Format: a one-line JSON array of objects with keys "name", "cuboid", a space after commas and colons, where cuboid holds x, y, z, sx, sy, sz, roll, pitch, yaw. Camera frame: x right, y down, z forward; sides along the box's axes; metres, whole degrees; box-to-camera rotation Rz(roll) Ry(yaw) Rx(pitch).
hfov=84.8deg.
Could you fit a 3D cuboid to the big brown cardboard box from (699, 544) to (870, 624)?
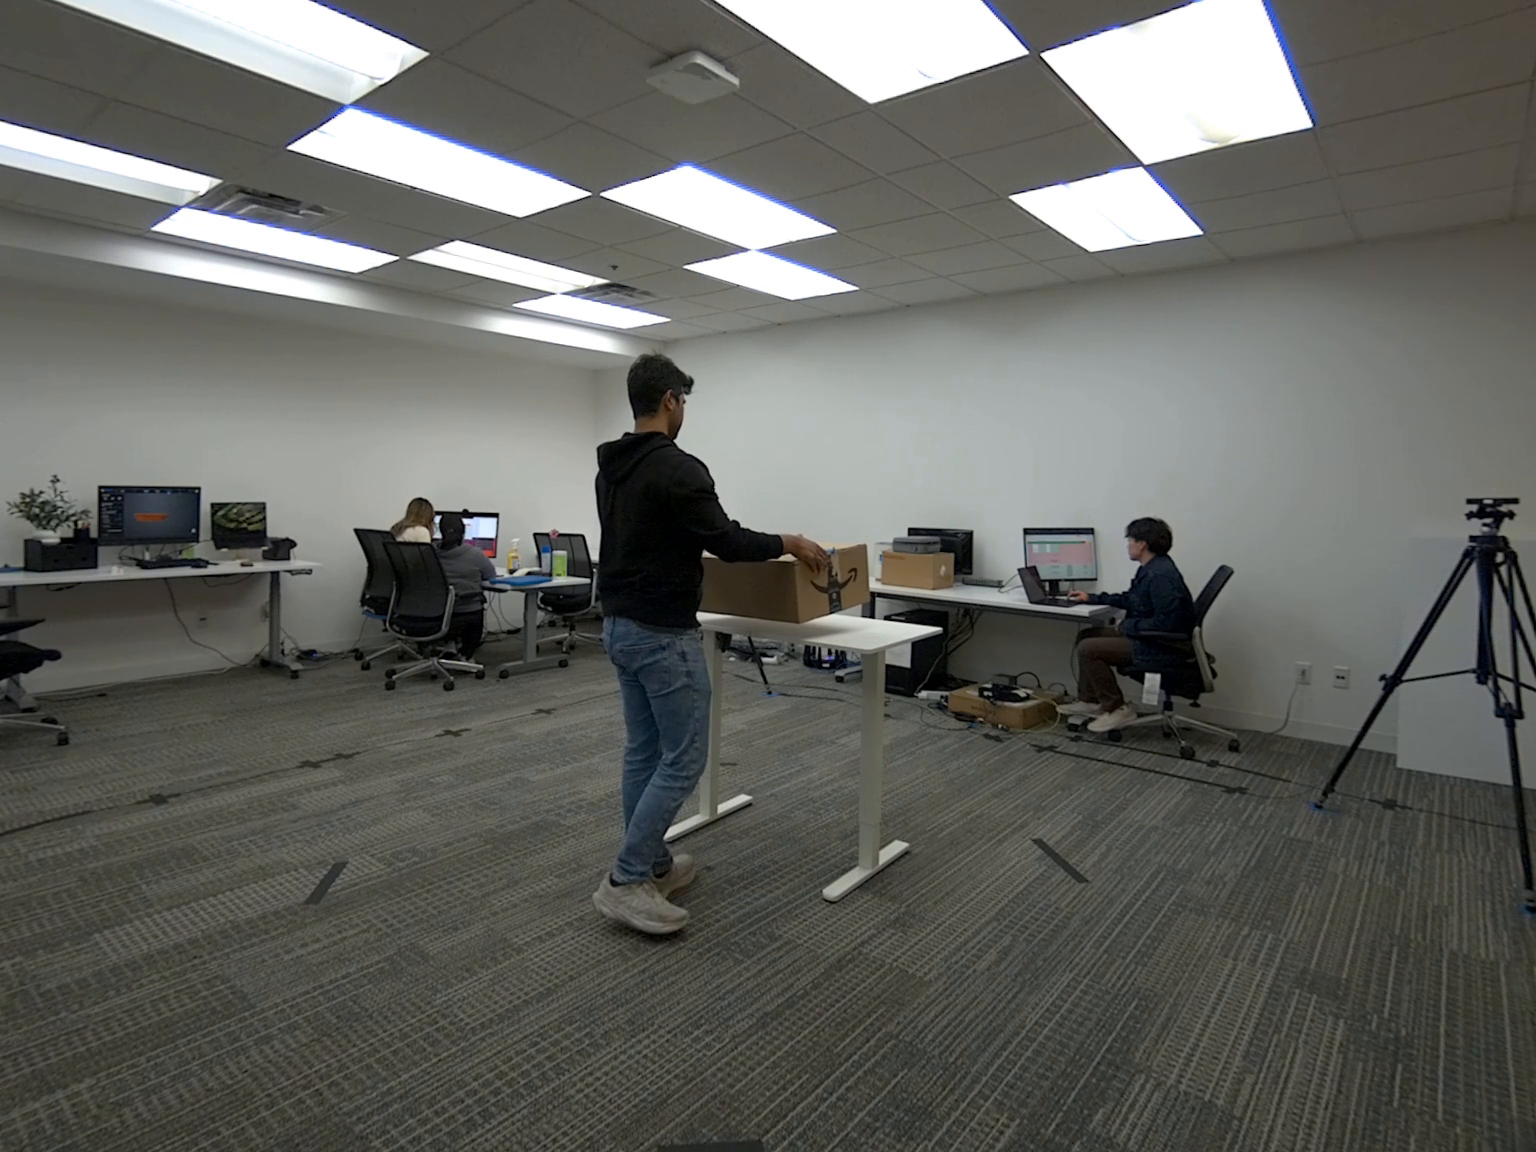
[{"name": "big brown cardboard box", "cuboid": [-0.002, 0.004, 3.149, 0.609, 0.231, 0.407, 5, 12, 42]}]
